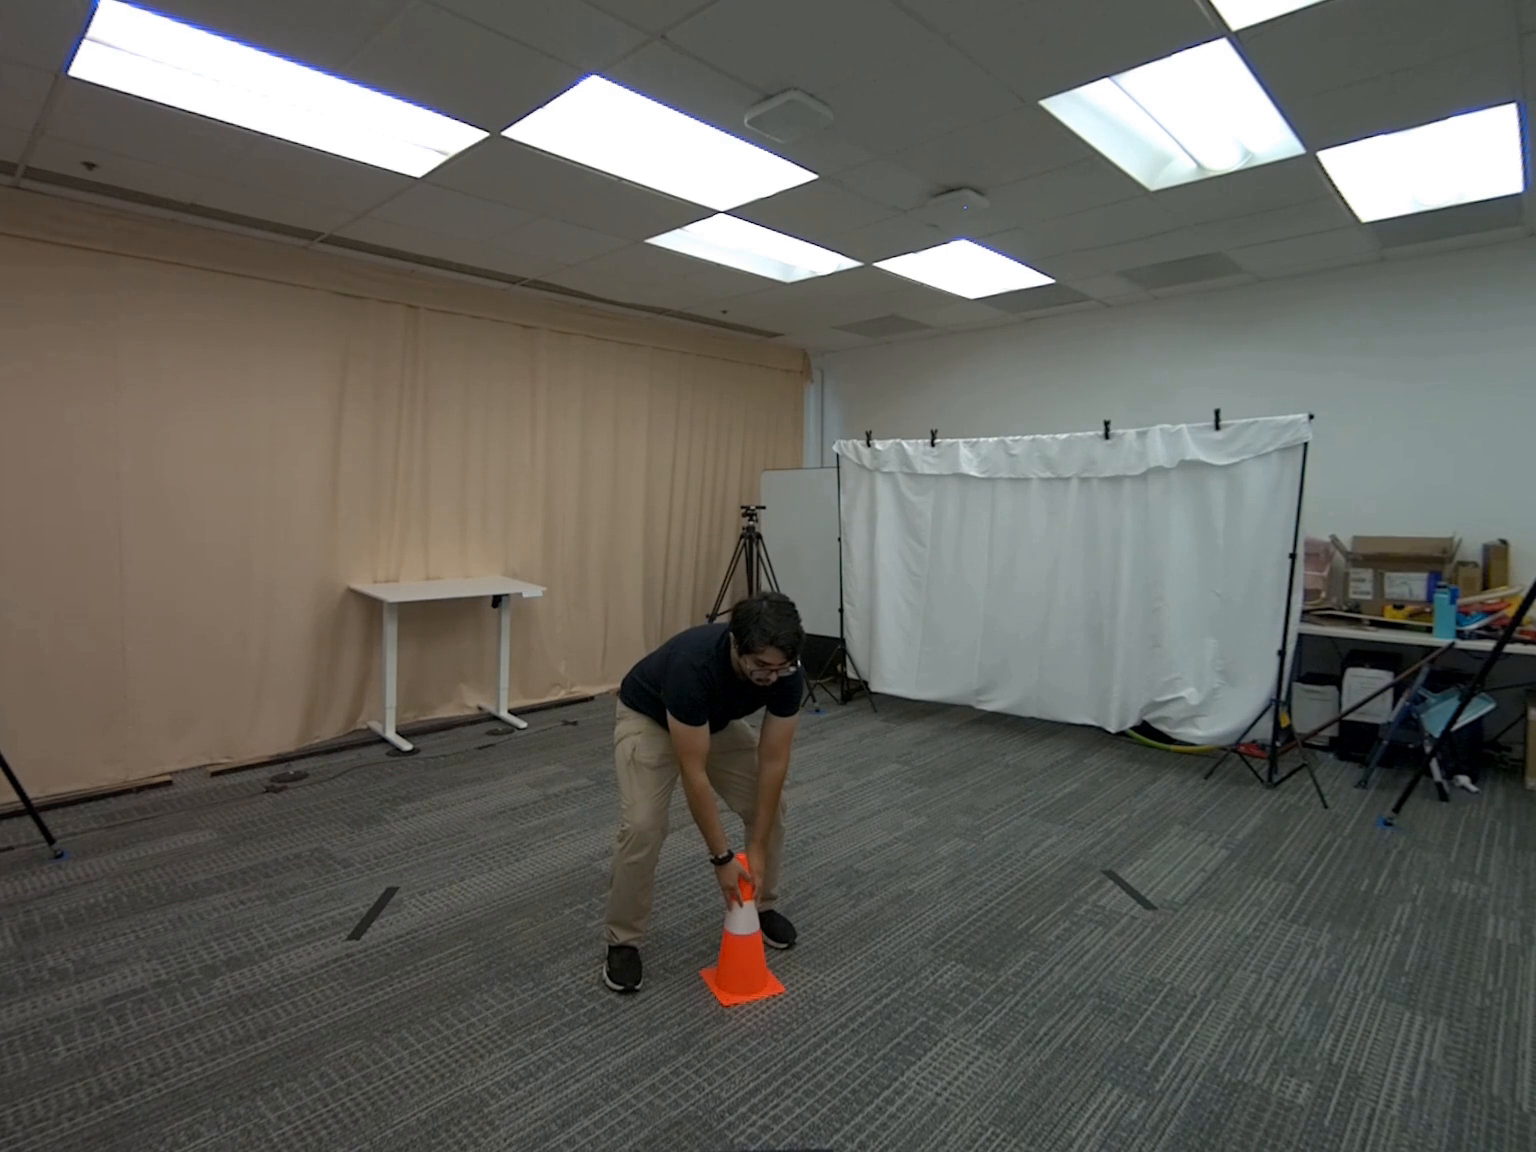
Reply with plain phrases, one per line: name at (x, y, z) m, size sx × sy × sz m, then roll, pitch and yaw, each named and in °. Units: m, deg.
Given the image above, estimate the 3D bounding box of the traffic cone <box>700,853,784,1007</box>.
traffic cone at (-0.073, 1.005, 2.447) m, size 0.200 × 0.383 × 0.209 m, roll 0°, pitch 3°, yaw -18°
